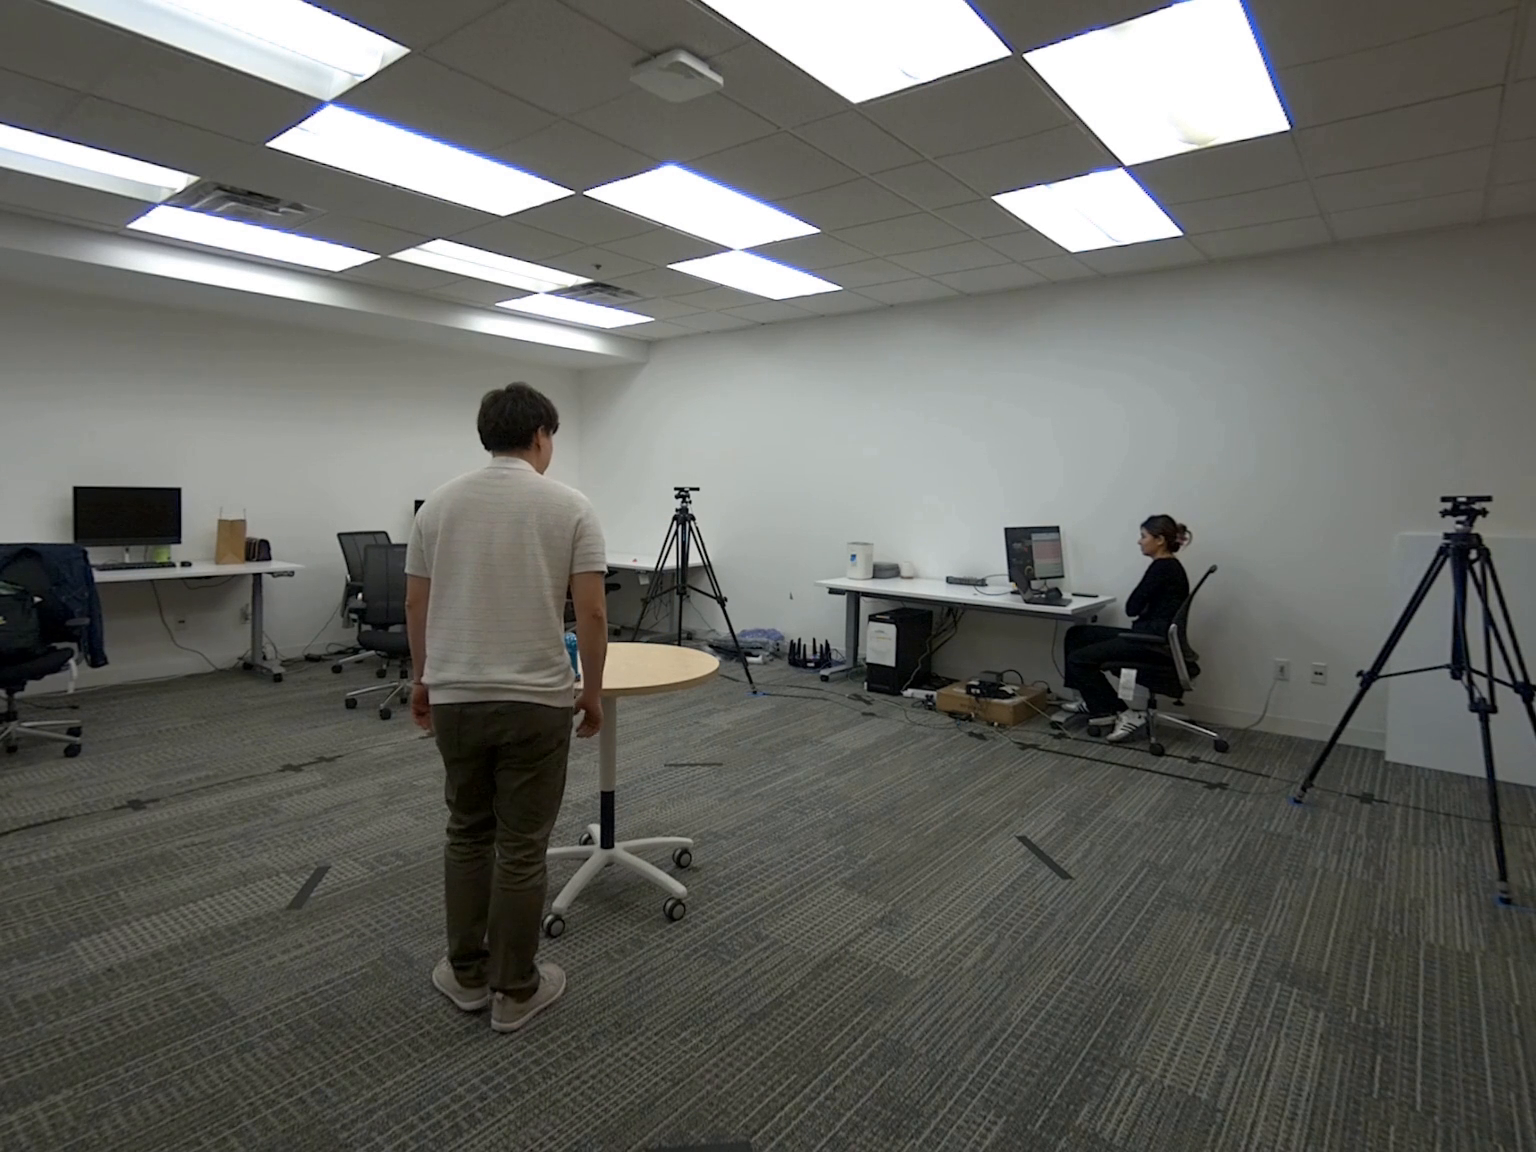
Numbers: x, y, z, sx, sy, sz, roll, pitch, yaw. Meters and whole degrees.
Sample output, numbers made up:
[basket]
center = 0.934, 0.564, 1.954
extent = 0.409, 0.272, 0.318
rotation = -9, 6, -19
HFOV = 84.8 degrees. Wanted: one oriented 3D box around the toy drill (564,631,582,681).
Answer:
[toy drill]
center = -0.632, 0.246, 2.684
extent = 0.060, 0.145, 0.174
rotation = -3, 5, -28
